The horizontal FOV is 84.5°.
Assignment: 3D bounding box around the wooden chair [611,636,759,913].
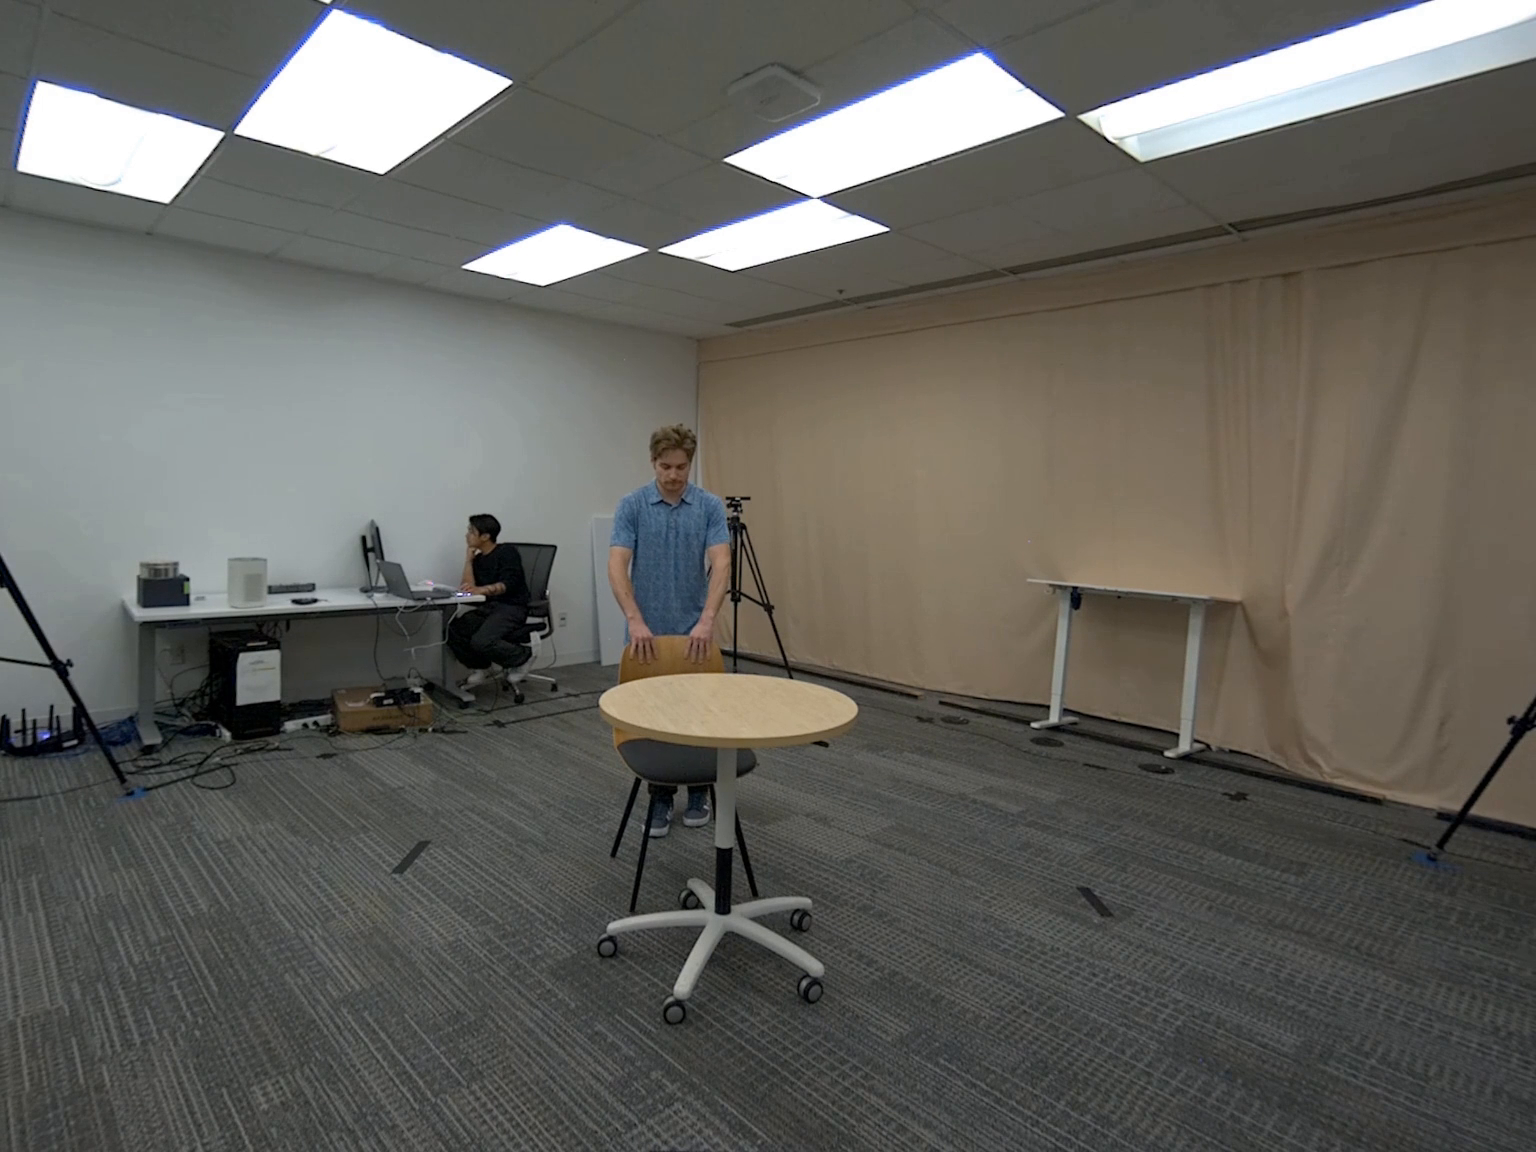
[{"bbox_3d":[-0.311,0.679,3.054,0.472,0.878,0.530,1,-1,-18],"label":"wooden chair"}]
